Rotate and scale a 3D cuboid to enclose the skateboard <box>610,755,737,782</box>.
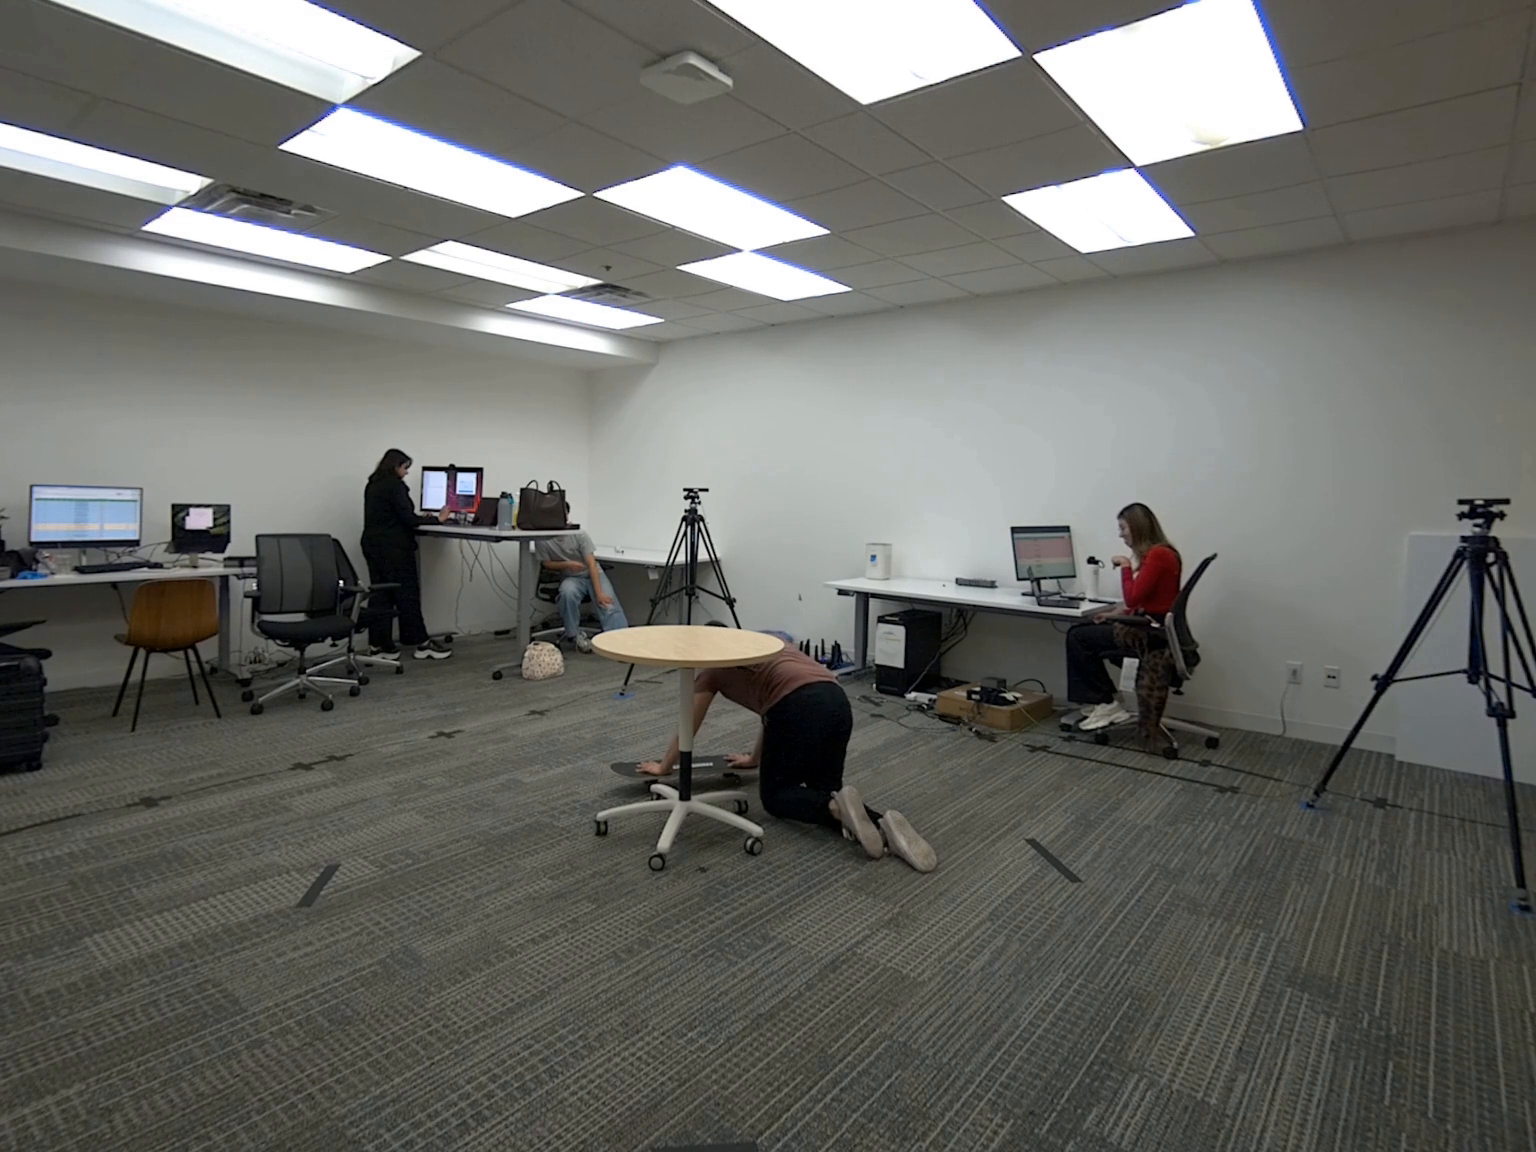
[{"bbox_3d":[-0.370,0.920,4.016,0.770,0.110,0.198,0,7,-19],"label":"skateboard"}]
